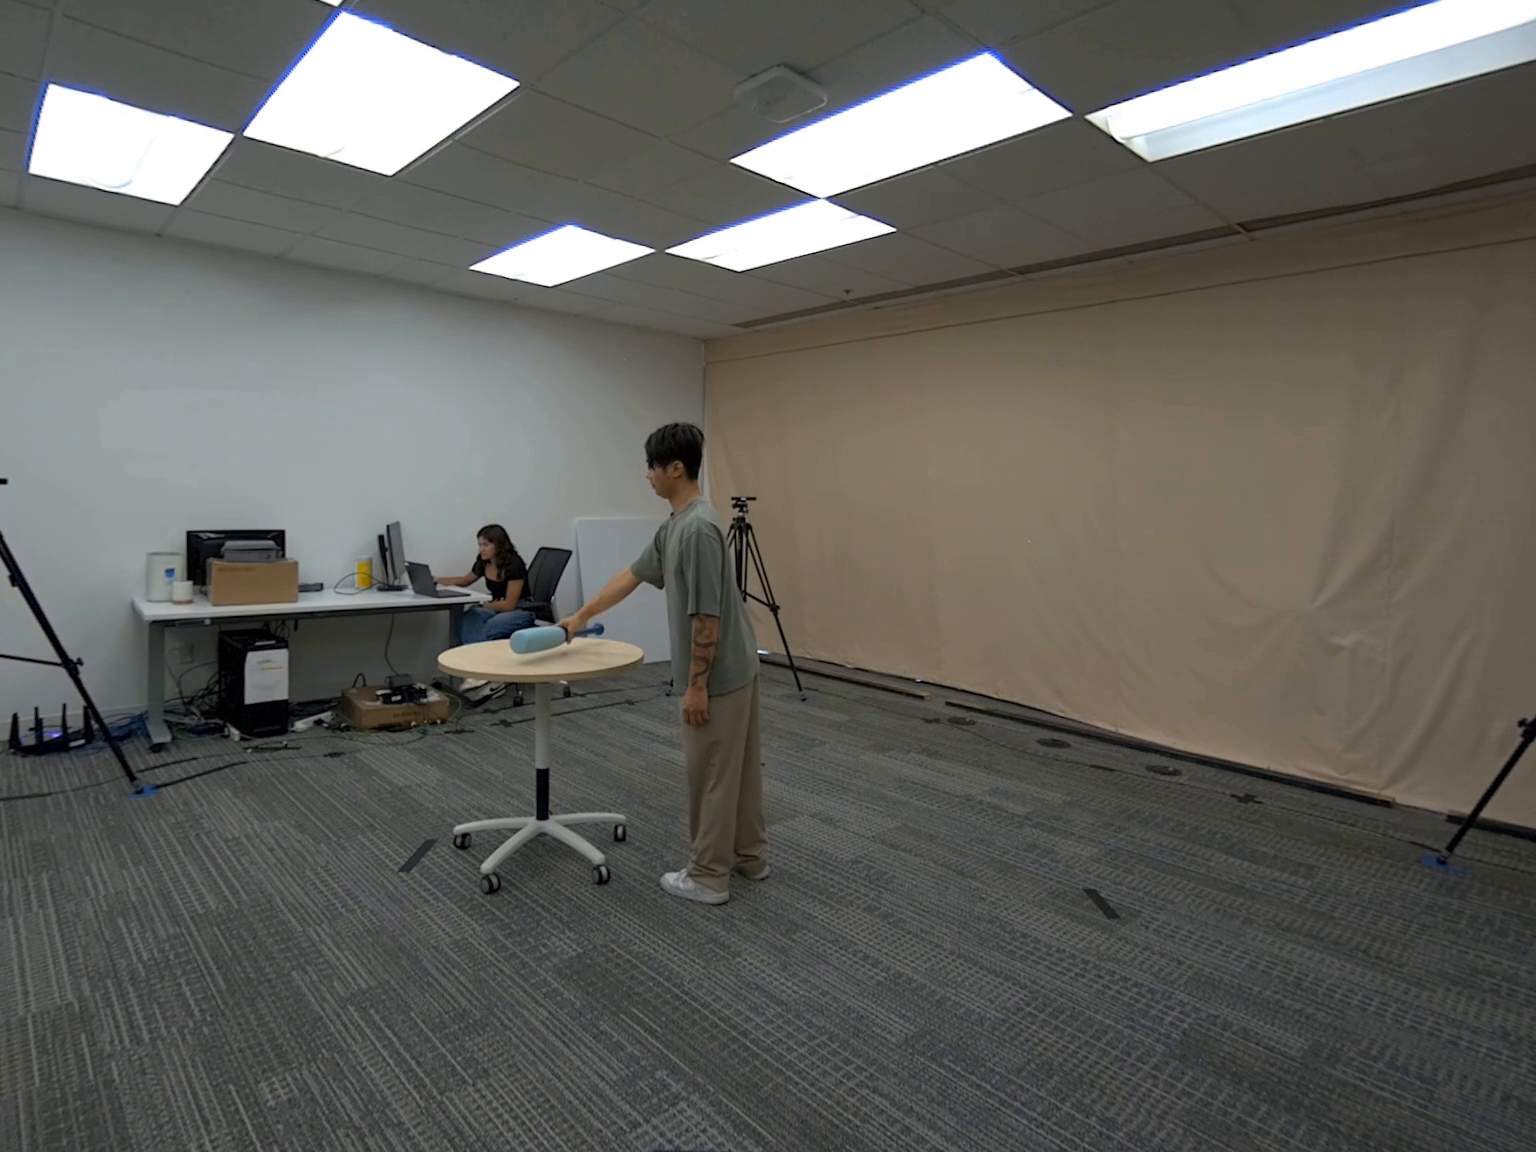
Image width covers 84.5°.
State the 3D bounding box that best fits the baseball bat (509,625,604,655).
[{"bbox_3d":[-0.788,0.224,3.224,0.090,0.089,0.534,3,3,20],"label":"baseball bat"}]
